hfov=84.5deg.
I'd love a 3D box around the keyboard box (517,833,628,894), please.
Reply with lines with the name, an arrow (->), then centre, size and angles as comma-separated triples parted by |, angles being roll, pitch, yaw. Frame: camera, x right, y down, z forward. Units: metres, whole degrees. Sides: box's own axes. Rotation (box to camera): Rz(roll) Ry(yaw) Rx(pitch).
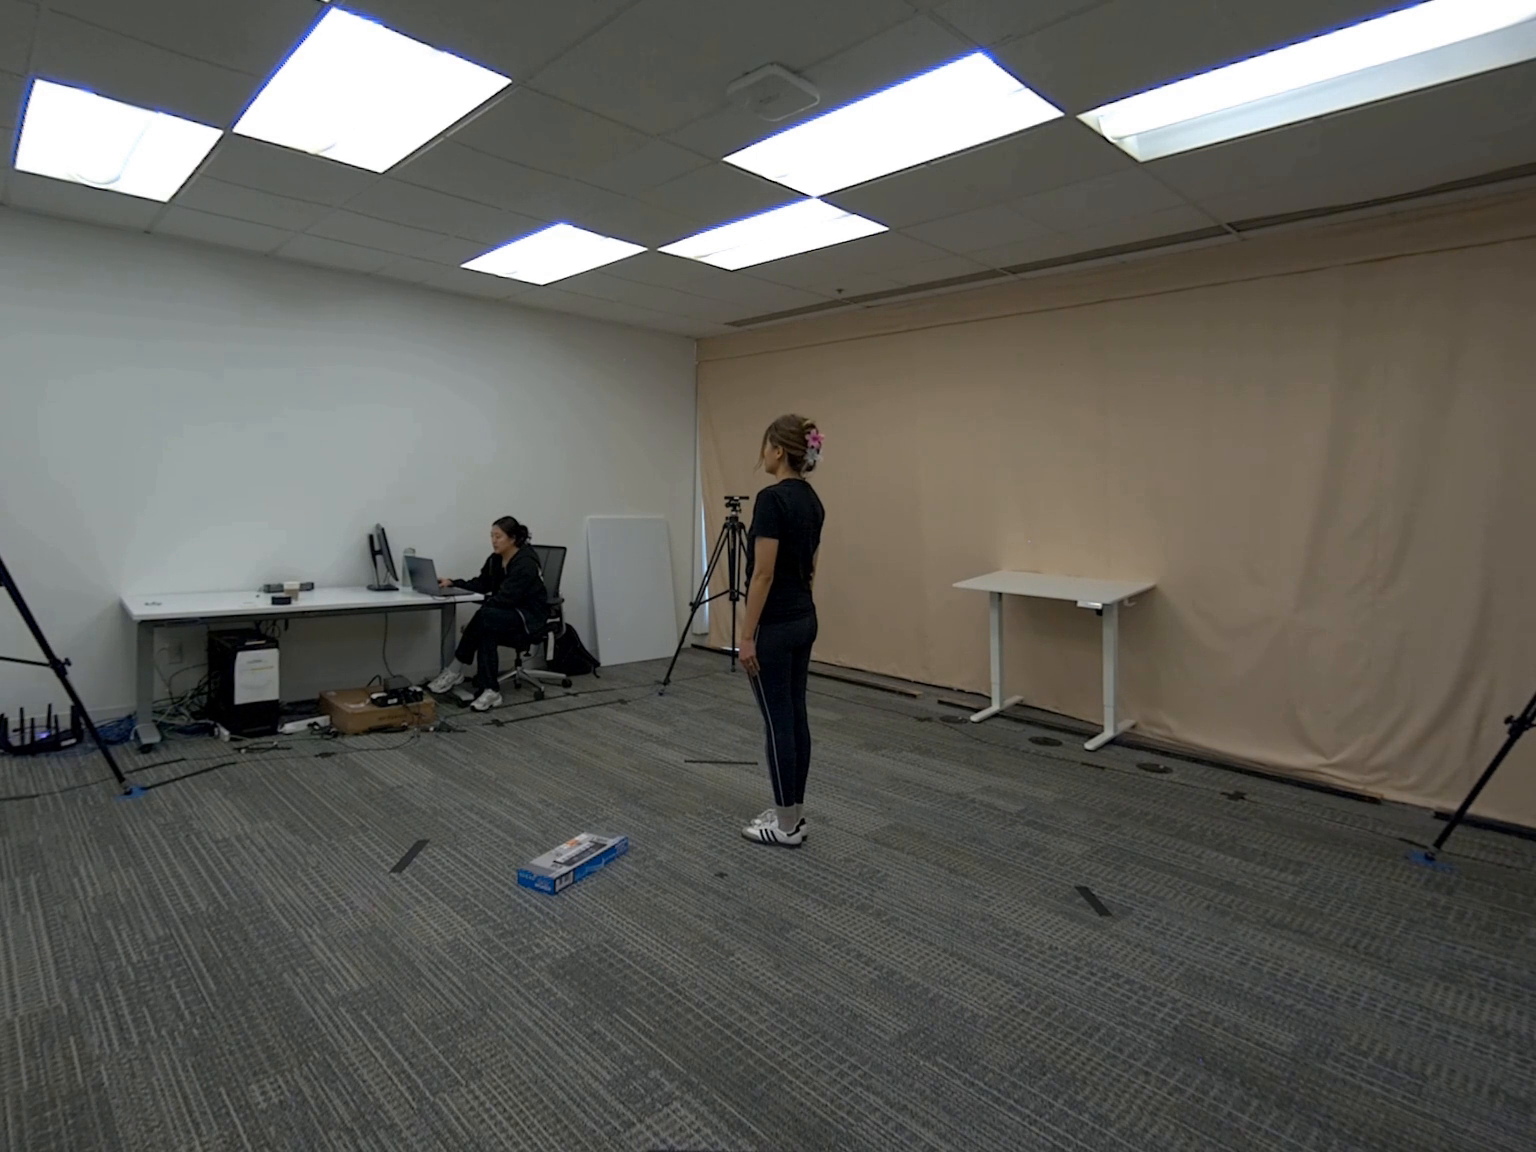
keyboard box -> -0.729, 1.058, 3.142 | 0.179, 0.059, 0.429 | 3, 6, 27
